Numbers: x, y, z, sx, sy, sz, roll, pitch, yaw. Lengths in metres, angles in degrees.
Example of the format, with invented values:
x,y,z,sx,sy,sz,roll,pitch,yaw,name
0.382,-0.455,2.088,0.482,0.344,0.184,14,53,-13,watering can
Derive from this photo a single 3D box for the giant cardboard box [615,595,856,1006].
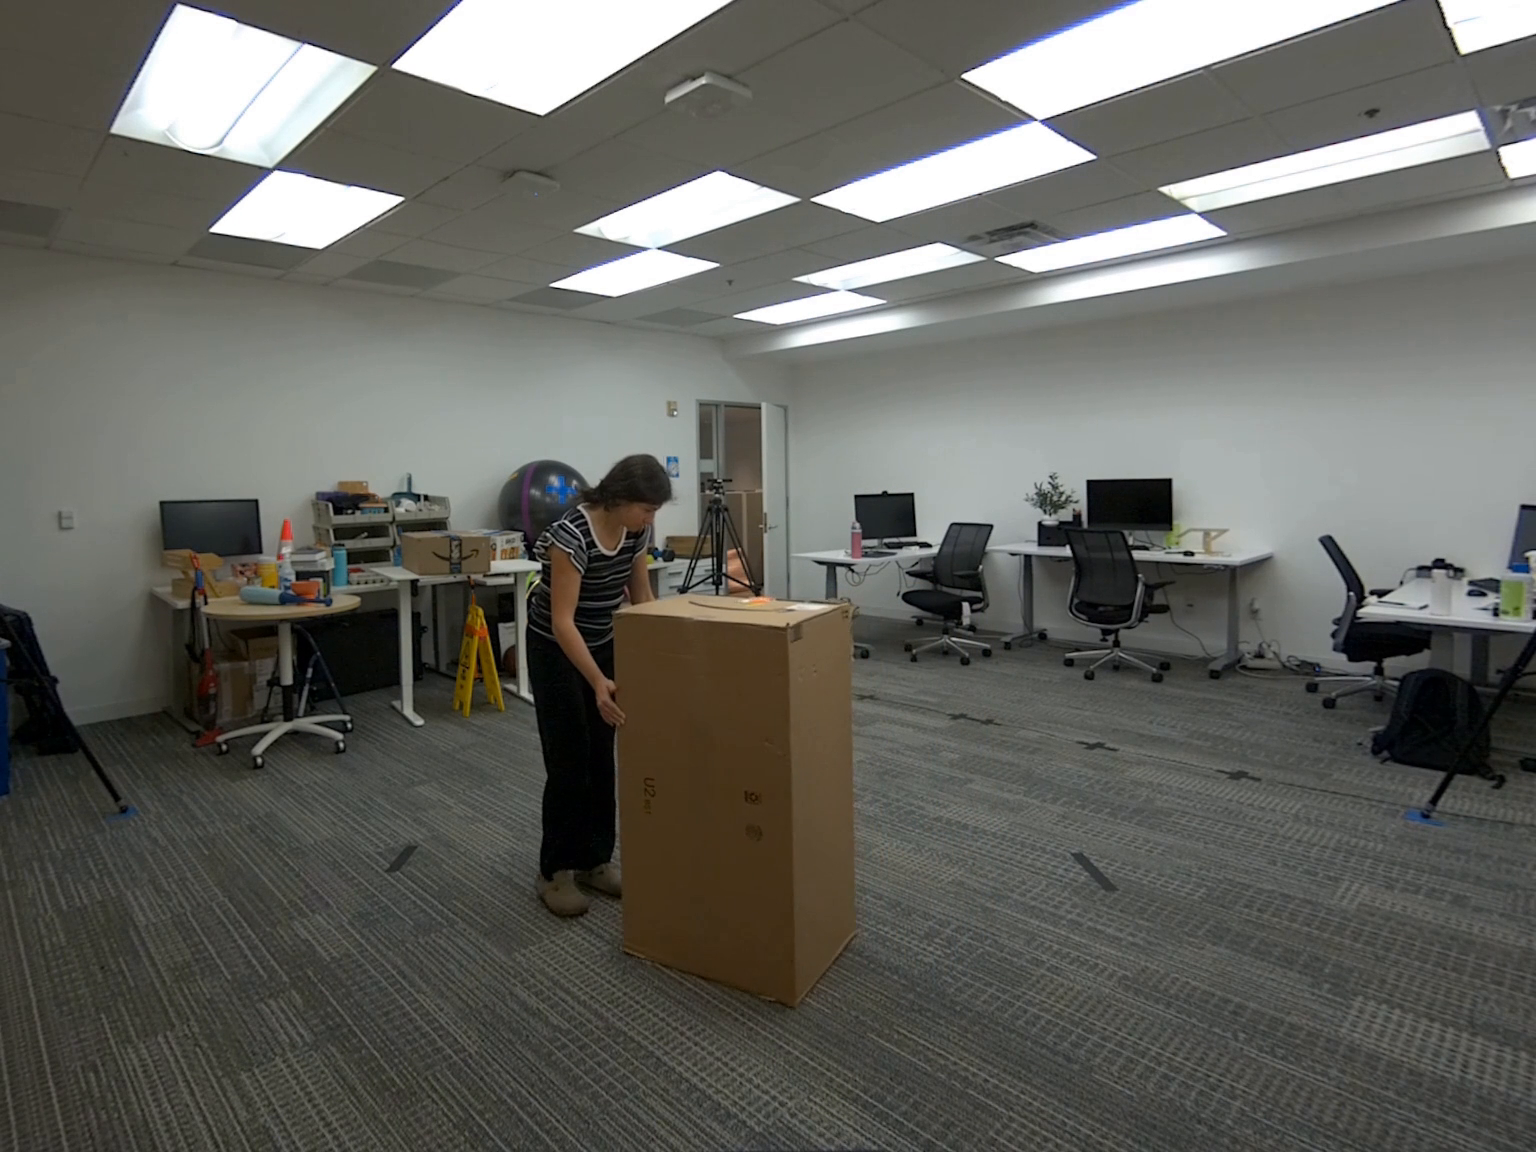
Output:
x,y,z,sx,sy,sz,roll,pitch,yaw,name
-0.089,0.603,2.539,0.592,1.022,0.417,1,5,29,giant cardboard box
